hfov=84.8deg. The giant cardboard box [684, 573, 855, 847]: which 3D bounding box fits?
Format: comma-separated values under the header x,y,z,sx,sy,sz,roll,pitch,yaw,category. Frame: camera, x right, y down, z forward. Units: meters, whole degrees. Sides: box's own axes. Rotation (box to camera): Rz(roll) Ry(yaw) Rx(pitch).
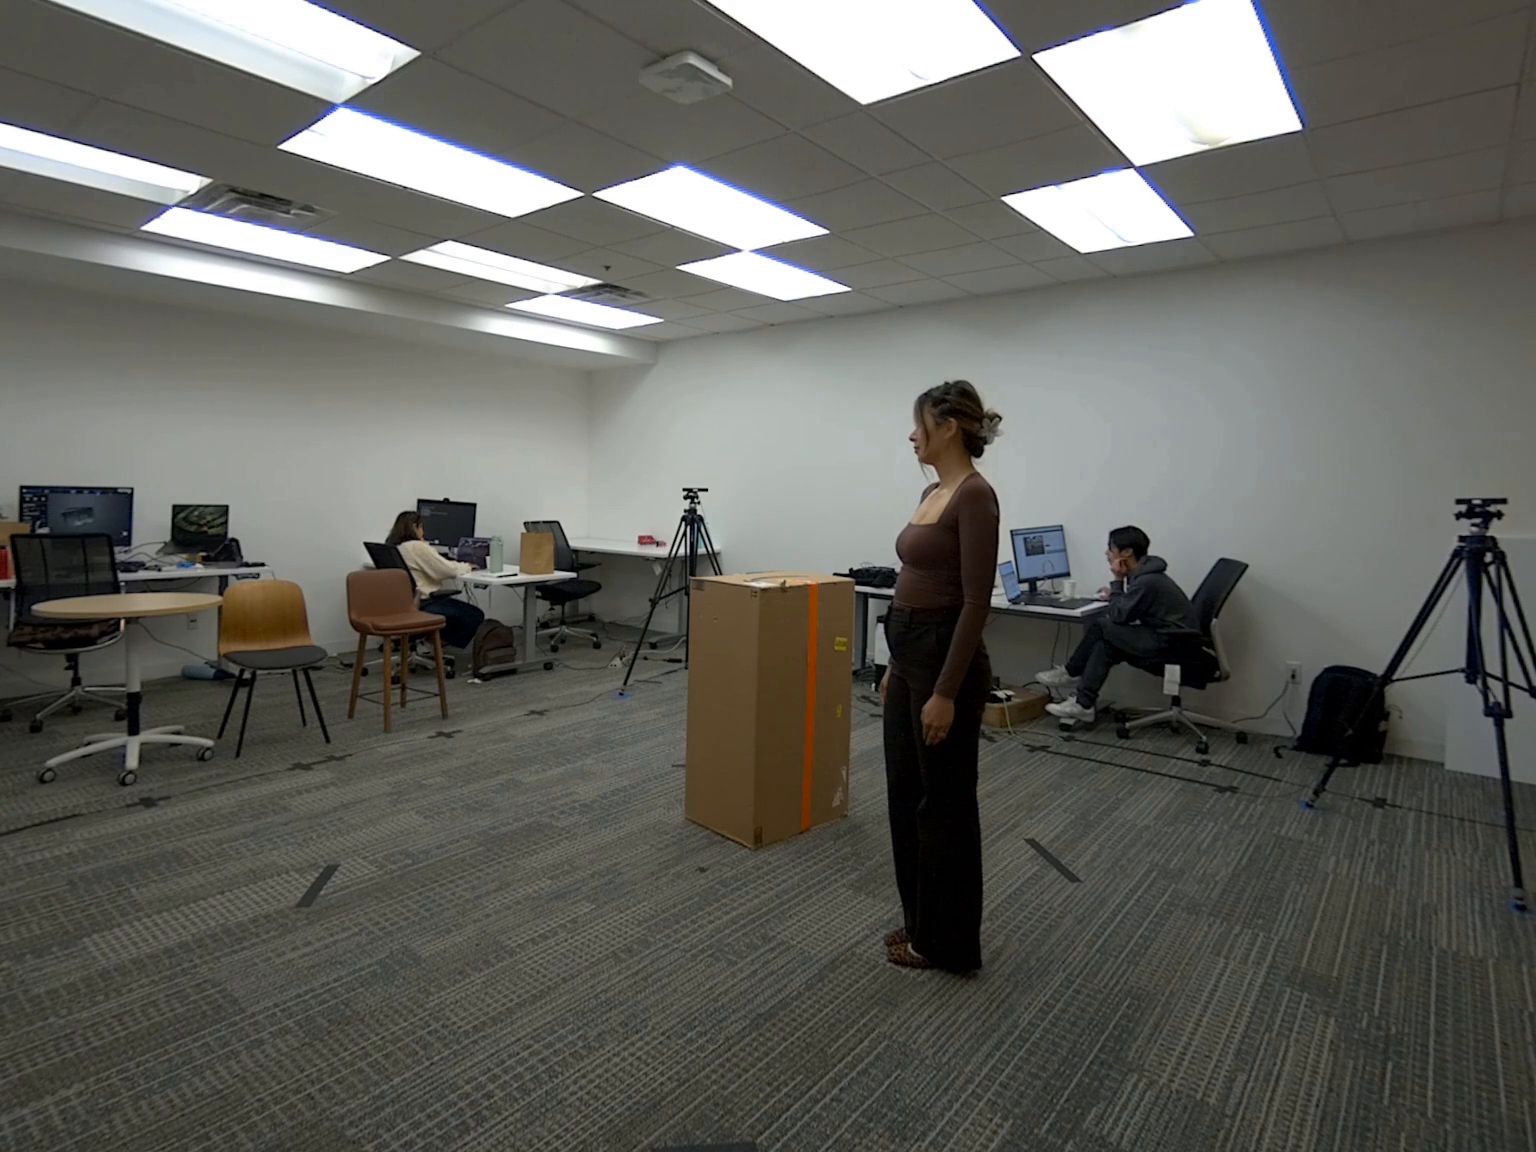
x,y,z,sx,sy,sz,roll,pitch,yaw,category
0.000,0.515,3.604,0.566,1.024,0.462,-2,5,-43,giant cardboard box
